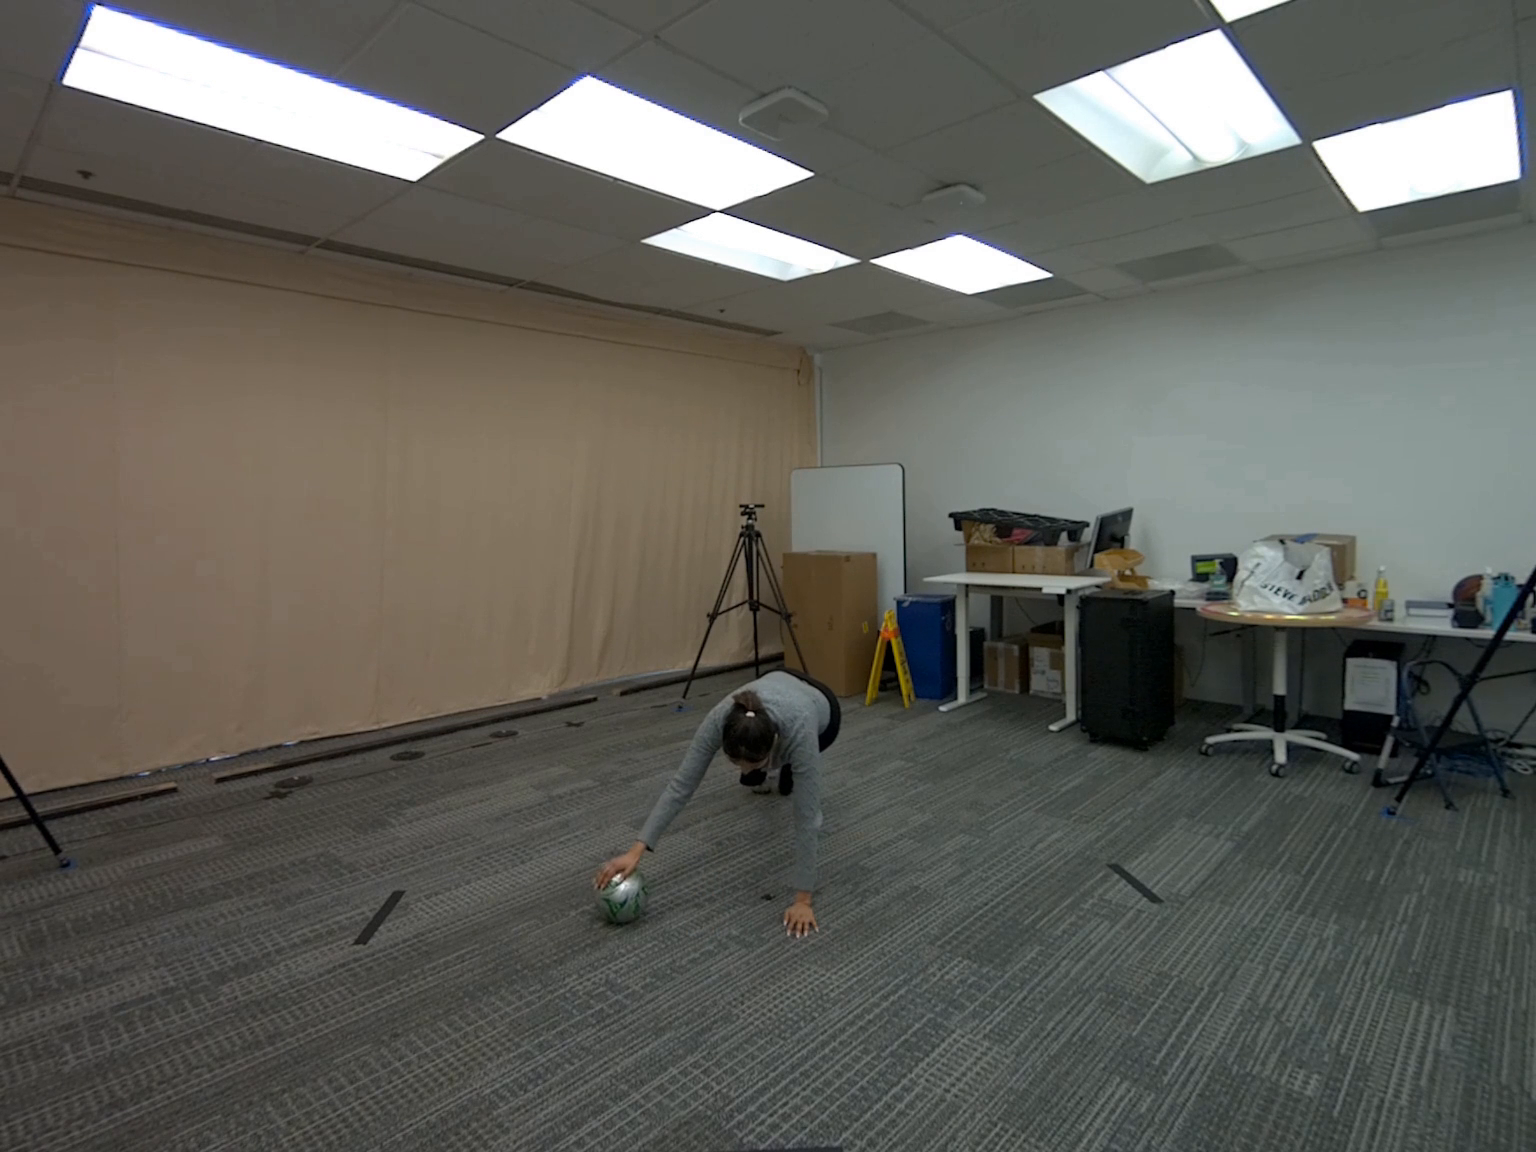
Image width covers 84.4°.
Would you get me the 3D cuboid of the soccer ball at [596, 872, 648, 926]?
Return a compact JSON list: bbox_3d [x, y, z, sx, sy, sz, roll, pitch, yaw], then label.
[{"bbox_3d":[-0.483,1.070,2.841,0.187,0.187,0.188,-1,4,-2],"label":"soccer ball"}]
